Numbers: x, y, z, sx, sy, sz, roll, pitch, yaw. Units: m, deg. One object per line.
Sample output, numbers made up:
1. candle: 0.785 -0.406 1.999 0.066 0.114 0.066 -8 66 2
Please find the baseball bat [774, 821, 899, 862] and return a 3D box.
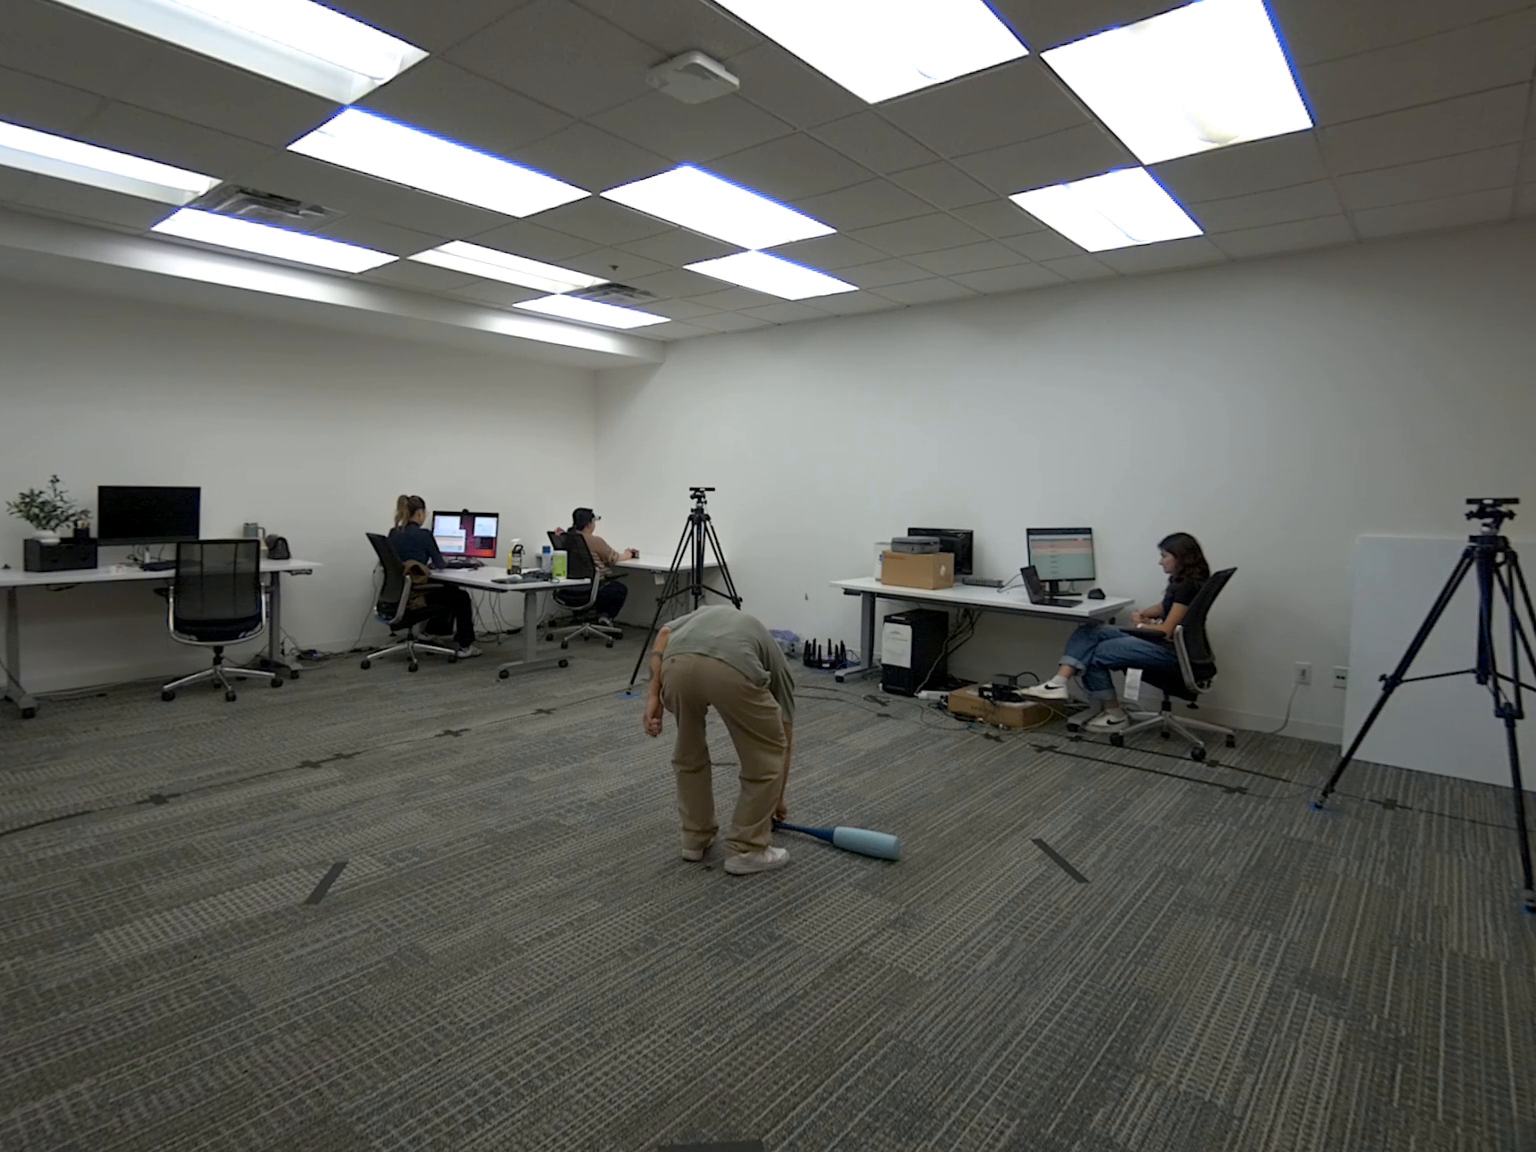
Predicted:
1. baseball bat: 0.245 1.023 3.337 0.558 0.089 0.087 2 4 30
